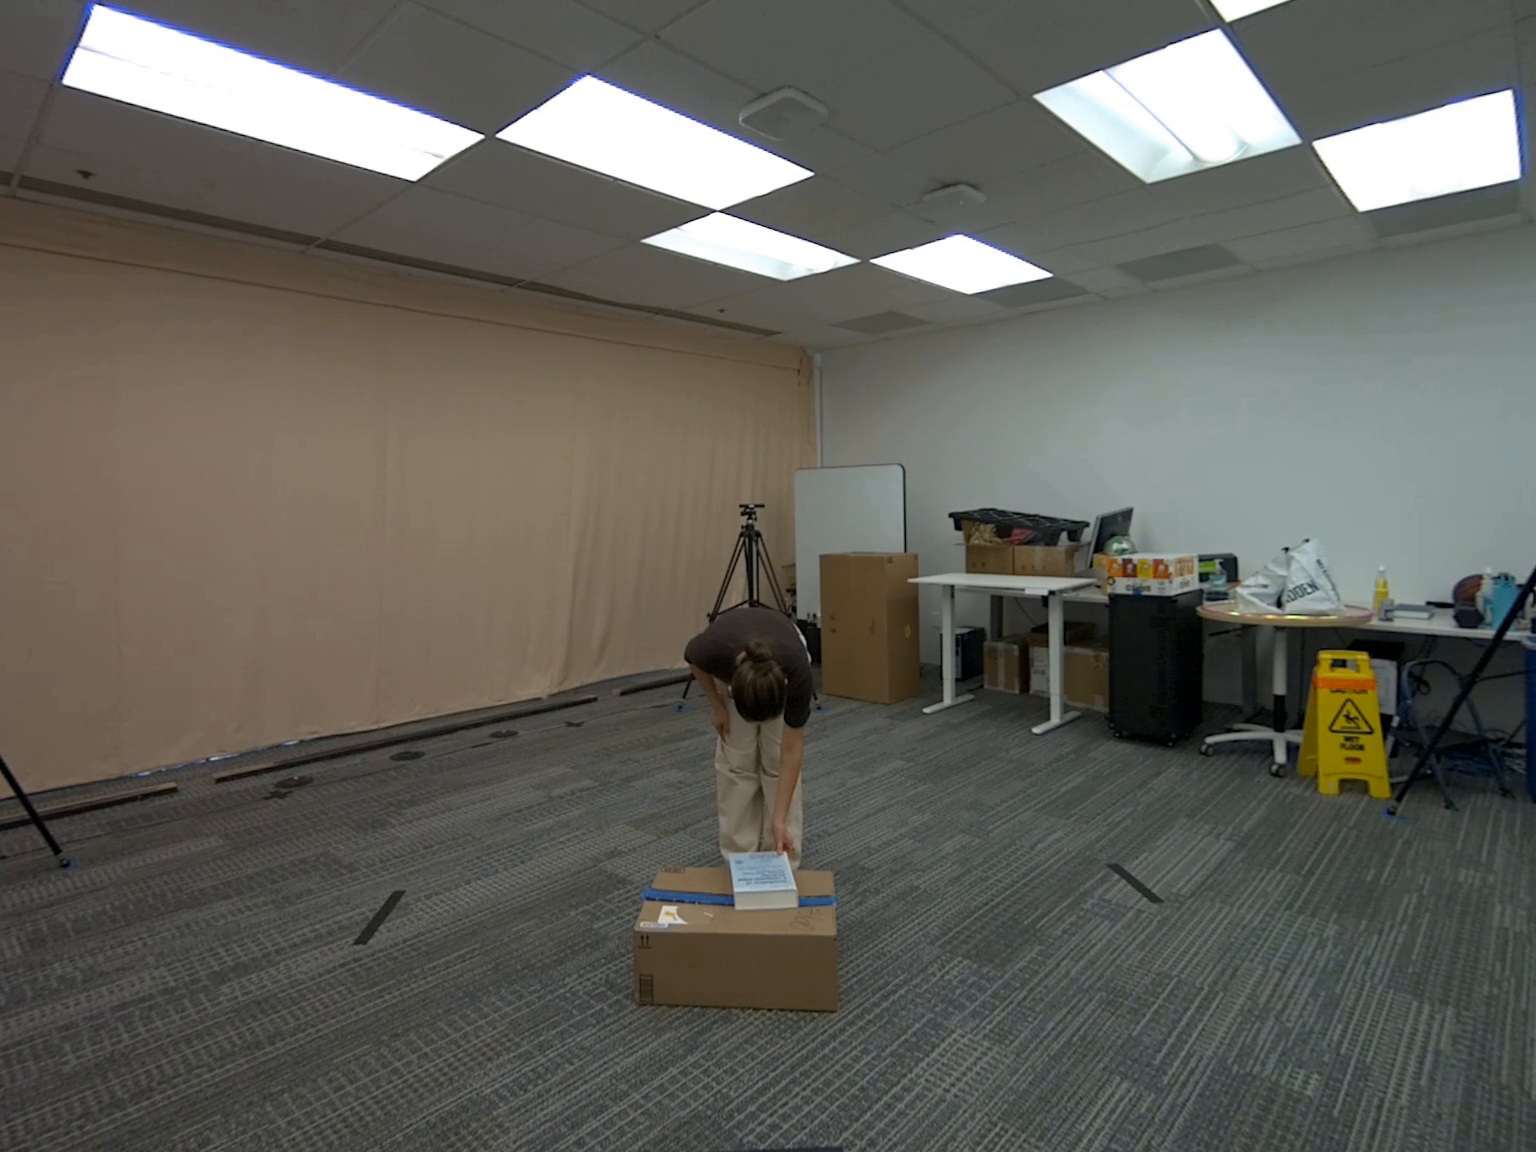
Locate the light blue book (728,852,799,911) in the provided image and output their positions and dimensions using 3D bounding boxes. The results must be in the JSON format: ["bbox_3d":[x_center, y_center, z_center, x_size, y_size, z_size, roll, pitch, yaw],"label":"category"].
[{"bbox_3d":[-0.016,0.927,2.595,0.191,0.059,0.263,-2,6,-4],"label":"light blue book"}]
